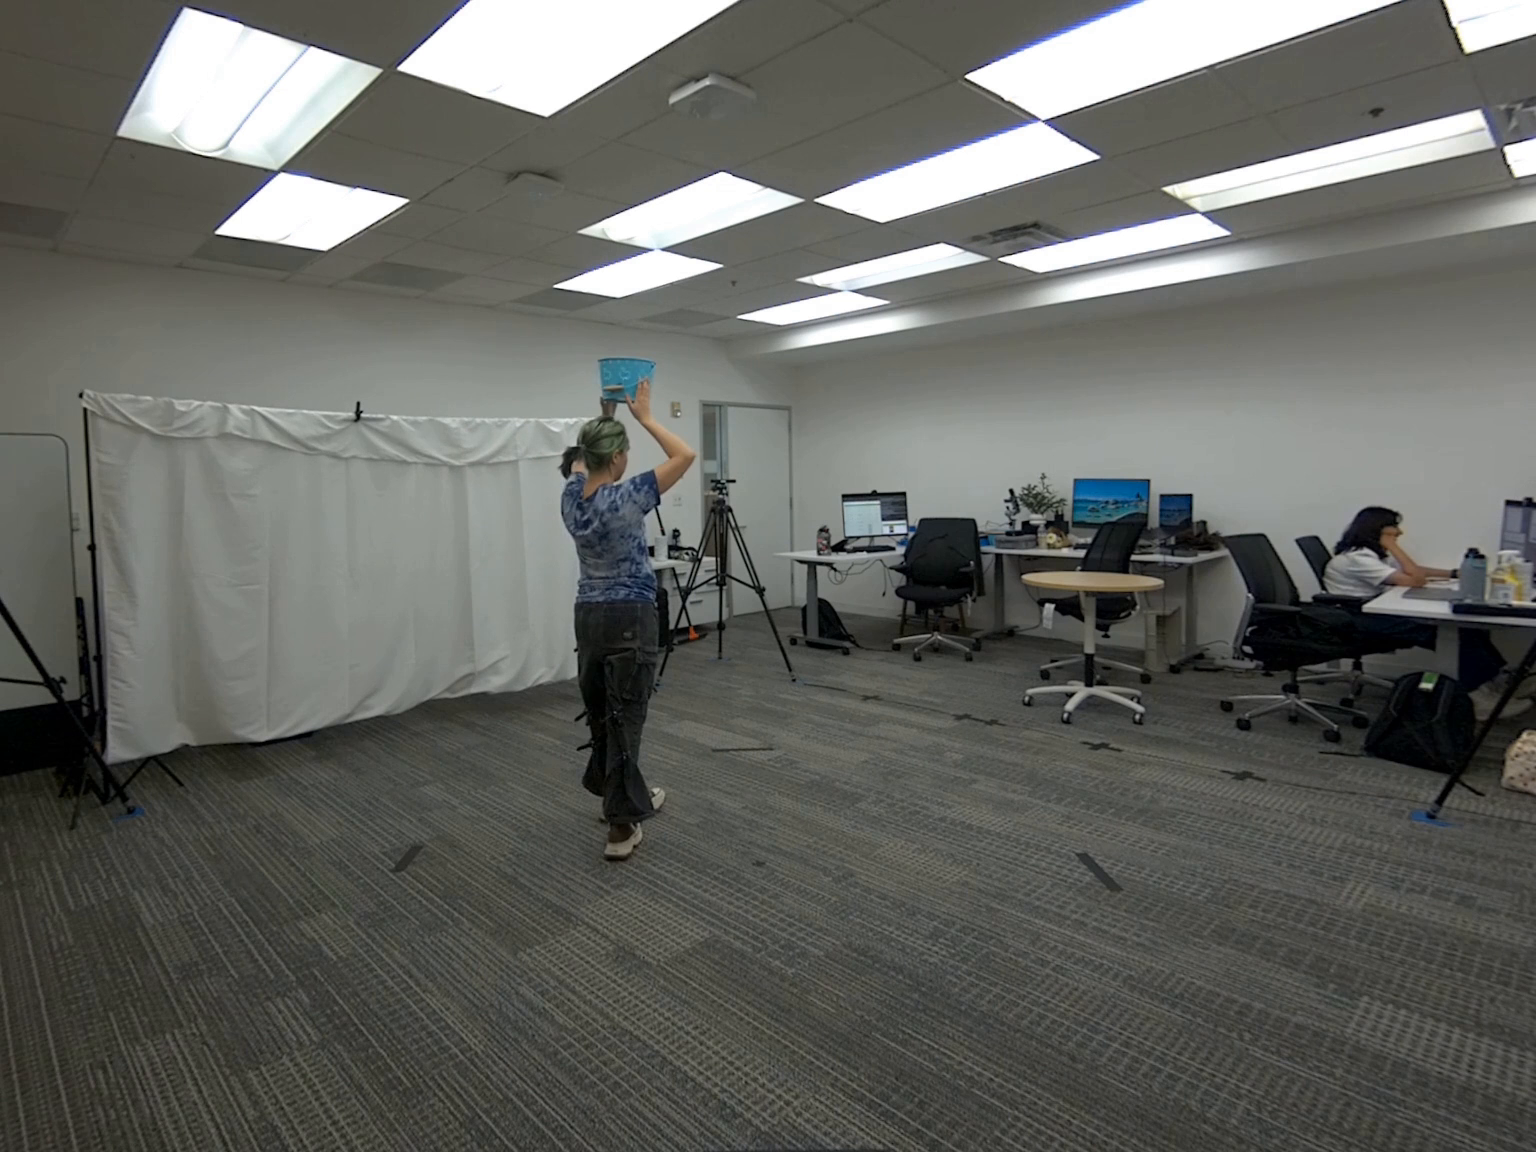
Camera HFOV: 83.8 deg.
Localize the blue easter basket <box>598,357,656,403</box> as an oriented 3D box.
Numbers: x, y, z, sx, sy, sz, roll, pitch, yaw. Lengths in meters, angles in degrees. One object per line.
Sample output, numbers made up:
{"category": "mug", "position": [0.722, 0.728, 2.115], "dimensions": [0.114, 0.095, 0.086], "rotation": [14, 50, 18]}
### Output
{"category": "blue easter basket", "position": [-0.572, -0.766, 3.348], "dimensions": [0.243, 0.155, 0.244], "rotation": [2, 3, -2]}
